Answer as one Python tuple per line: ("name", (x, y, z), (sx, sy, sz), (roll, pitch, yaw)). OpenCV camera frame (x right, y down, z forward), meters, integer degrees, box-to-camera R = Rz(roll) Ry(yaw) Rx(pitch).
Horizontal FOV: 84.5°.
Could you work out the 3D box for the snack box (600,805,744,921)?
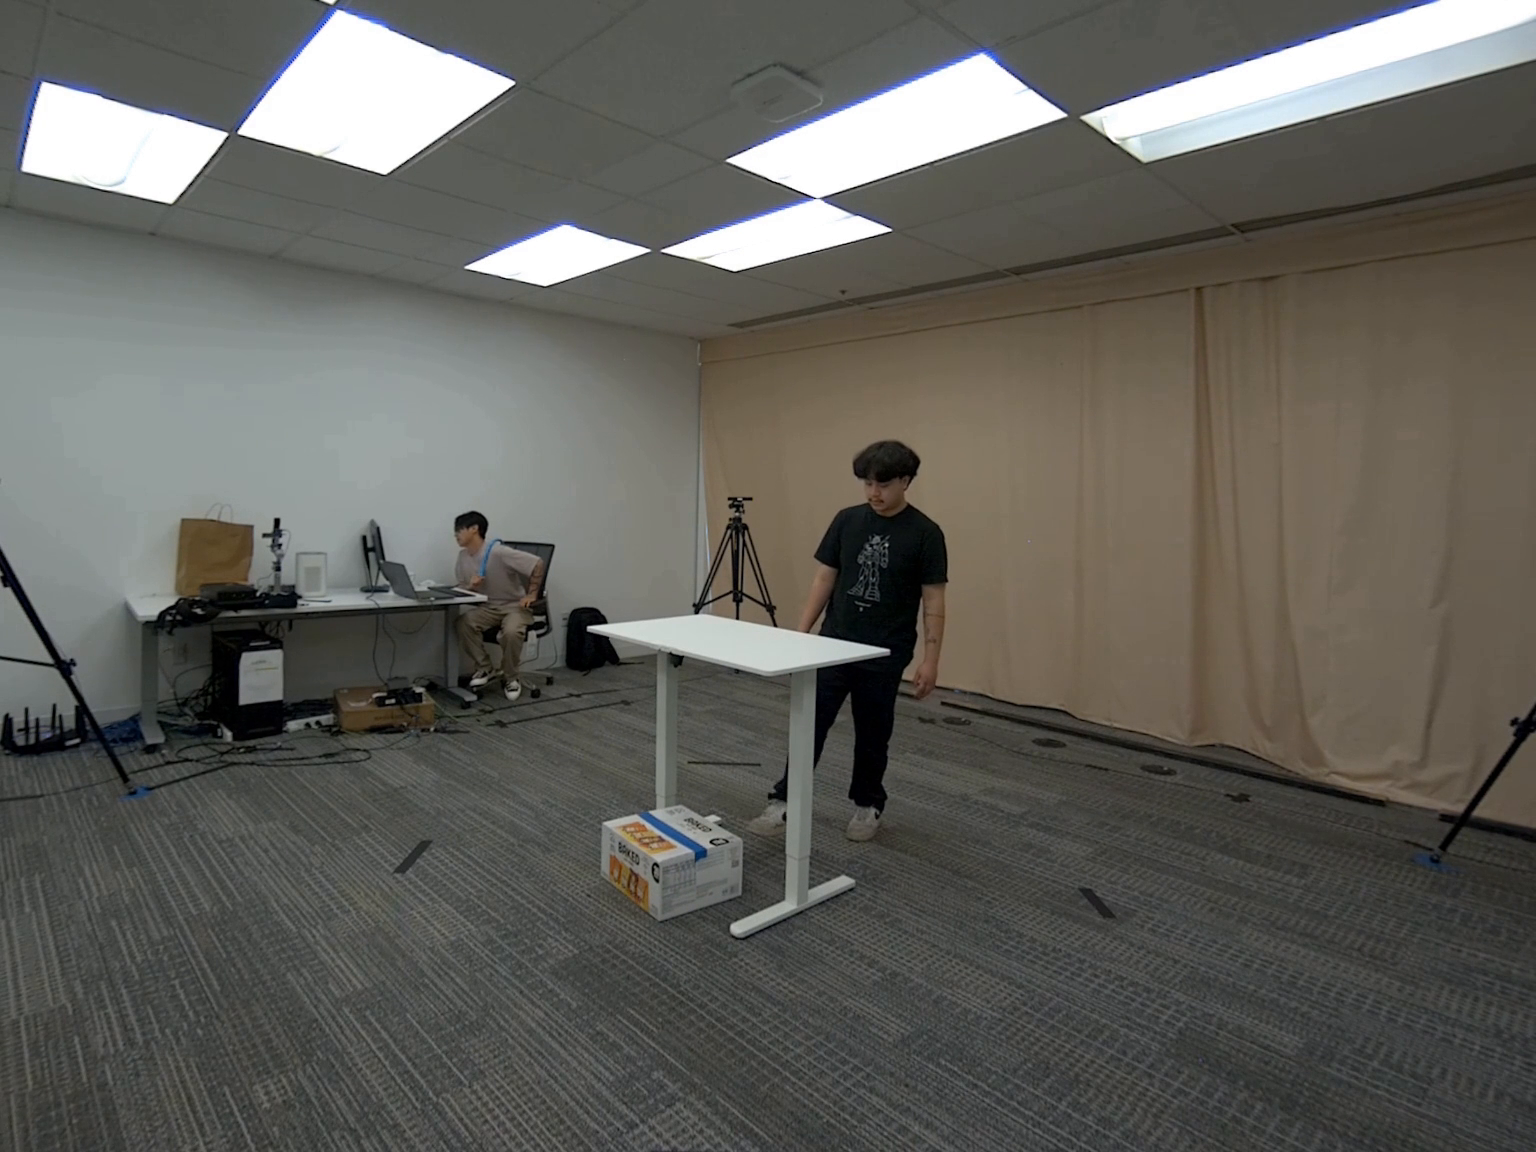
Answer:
("snack box", (-0.354, 1.013, 3.003), (0.333, 0.205, 0.415), (-2, 6, -38))
